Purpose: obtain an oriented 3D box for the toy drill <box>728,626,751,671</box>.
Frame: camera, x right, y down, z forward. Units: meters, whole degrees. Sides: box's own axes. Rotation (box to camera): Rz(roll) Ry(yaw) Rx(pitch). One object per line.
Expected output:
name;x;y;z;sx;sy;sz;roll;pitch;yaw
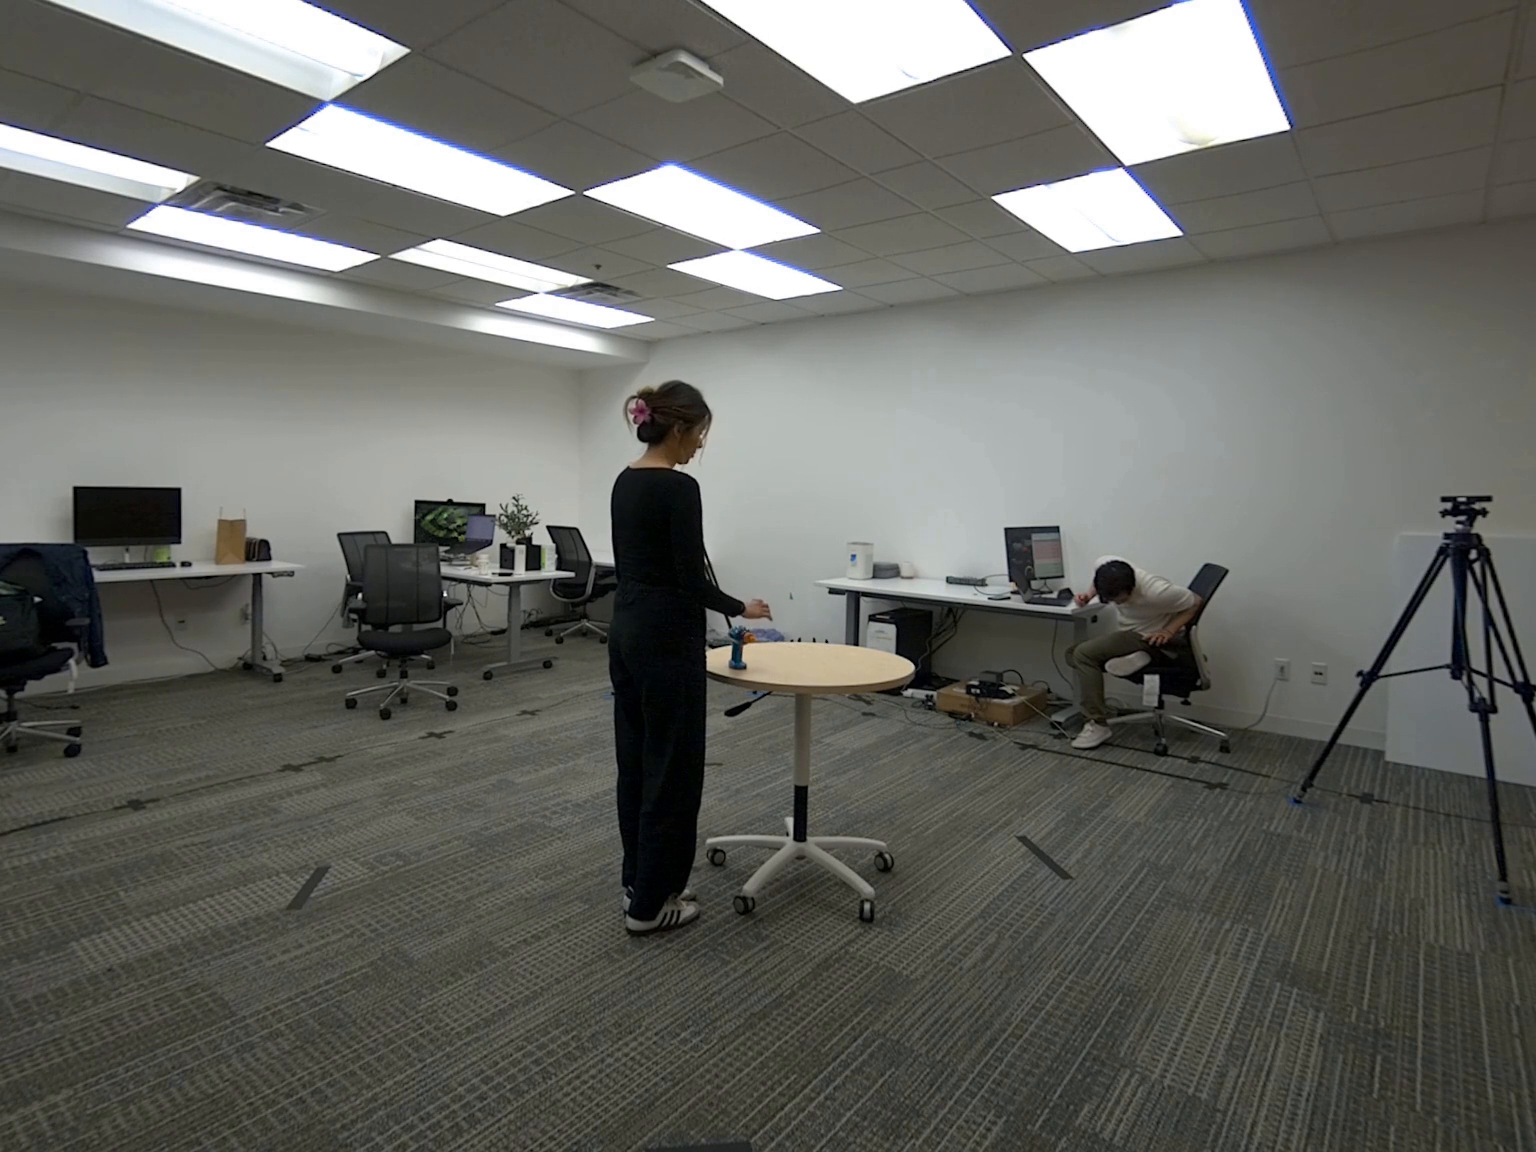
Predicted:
toy drill;-0.088;0.241;2.838;0.059;0.146;0.175;0;4;-31
